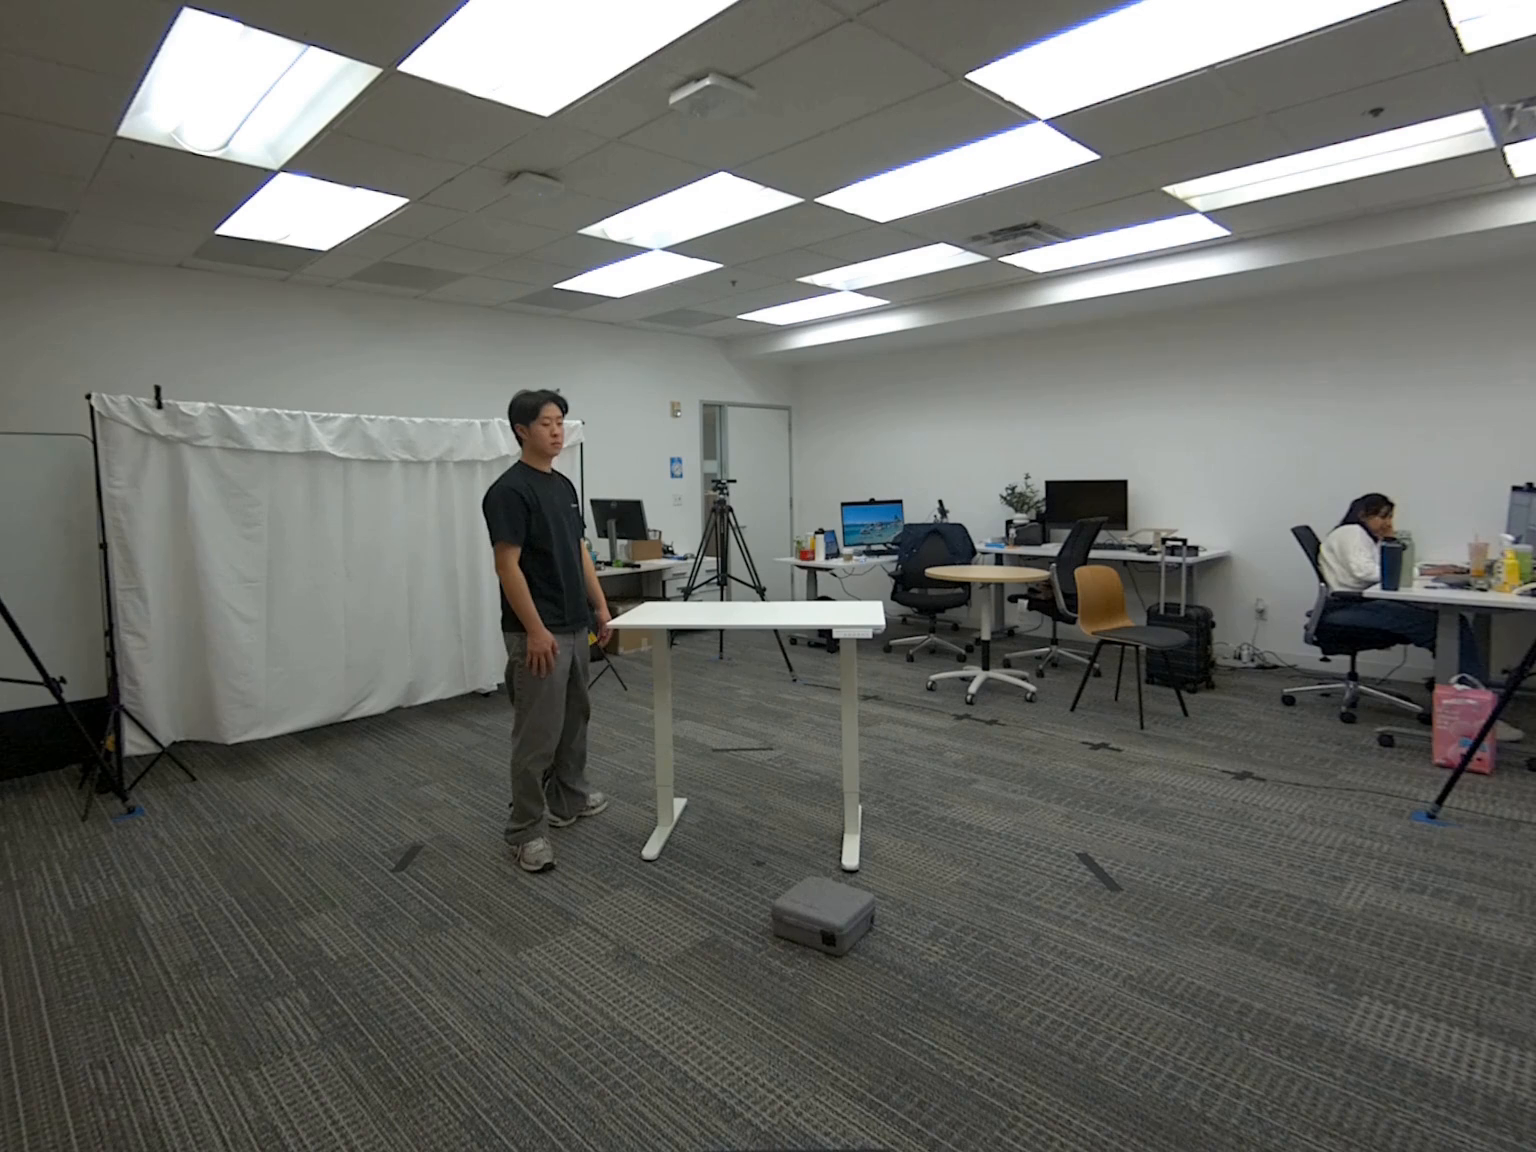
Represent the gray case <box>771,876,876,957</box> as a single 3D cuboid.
[{"bbox_3d":[0.186,1.045,2.650,0.271,0.102,0.280,4,6,34],"label":"gray case"}]
